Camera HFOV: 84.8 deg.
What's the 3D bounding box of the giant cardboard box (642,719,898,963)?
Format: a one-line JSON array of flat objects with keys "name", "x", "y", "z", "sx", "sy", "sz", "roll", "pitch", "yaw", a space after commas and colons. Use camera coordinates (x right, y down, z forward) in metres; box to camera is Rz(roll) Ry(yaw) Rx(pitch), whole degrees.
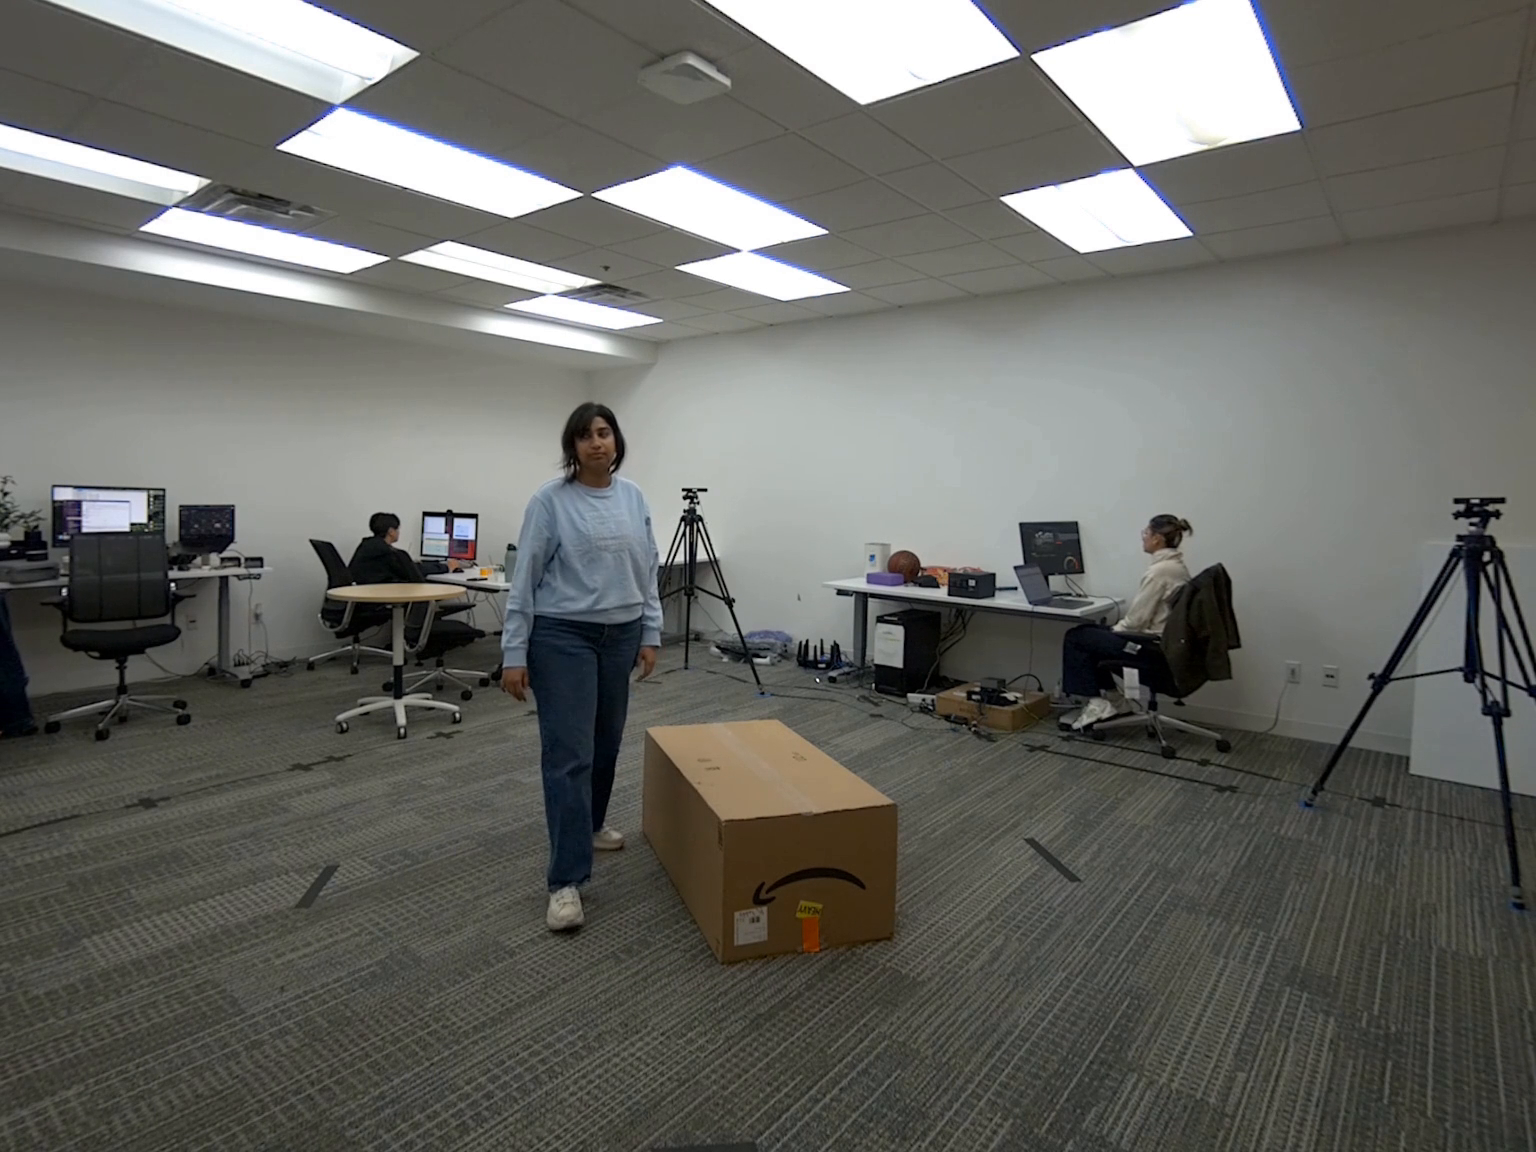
[{"name": "giant cardboard box", "x": -0.057, "y": 0.866, "z": 3.033, "sx": 0.566, "sy": 0.424, "sz": 1.050, "roll": -1, "pitch": 5, "yaw": -20}]
